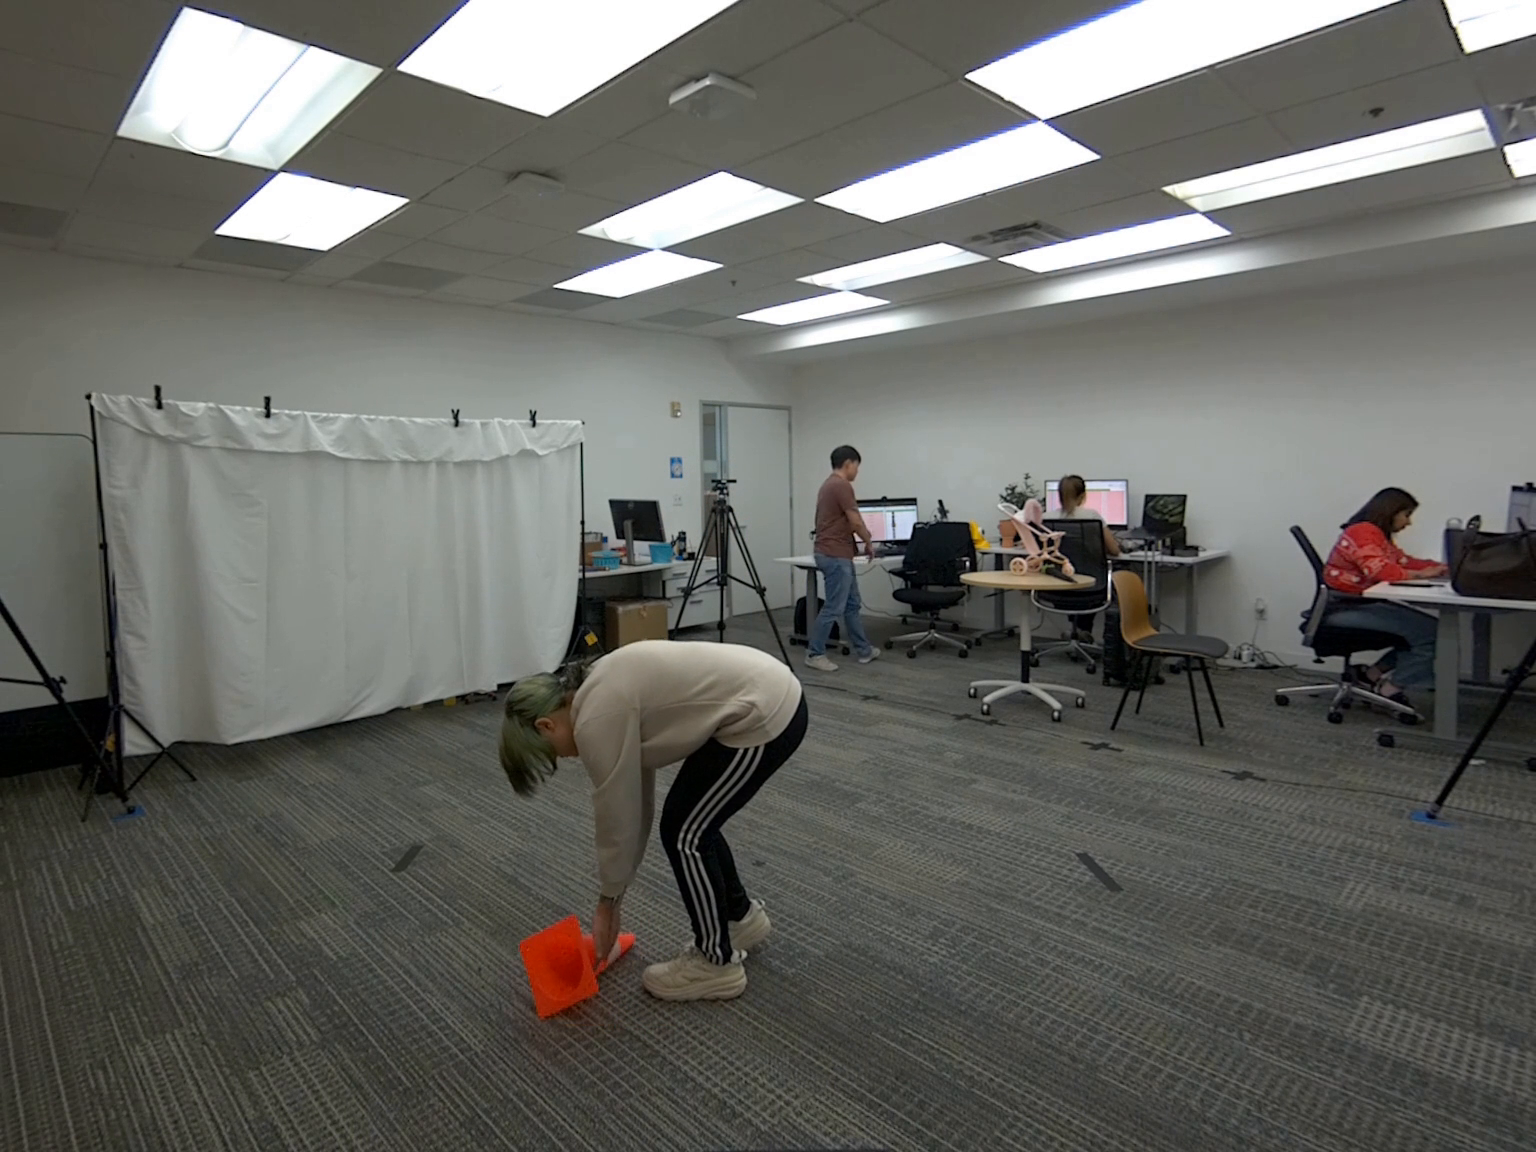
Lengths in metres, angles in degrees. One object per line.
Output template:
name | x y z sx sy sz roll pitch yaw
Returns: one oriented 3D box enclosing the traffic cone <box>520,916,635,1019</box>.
traffic cone | -0.474 1.075 2.423 0.205 0.210 0.372 -29 -21 16
